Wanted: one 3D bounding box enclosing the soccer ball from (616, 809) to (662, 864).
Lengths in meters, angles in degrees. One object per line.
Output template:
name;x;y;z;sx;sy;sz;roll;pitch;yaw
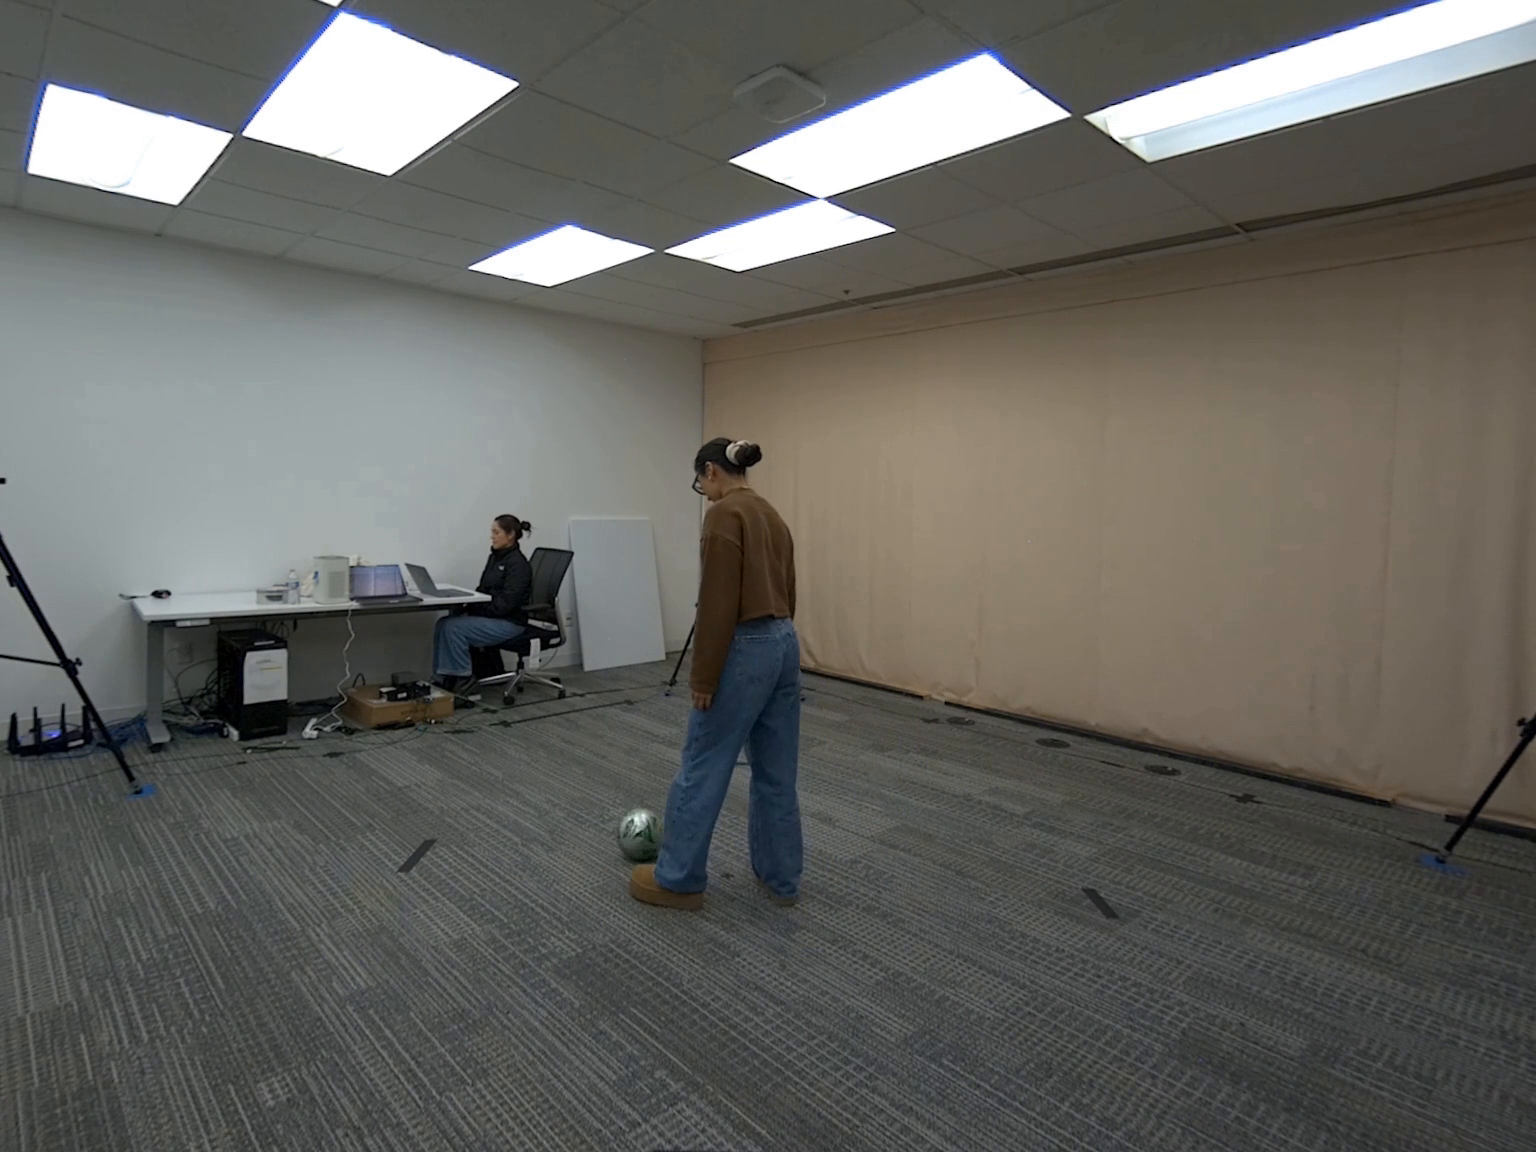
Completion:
soccer ball;-0.498;0.992;3.239;0.187;0.187;0.188;1;4;-1
